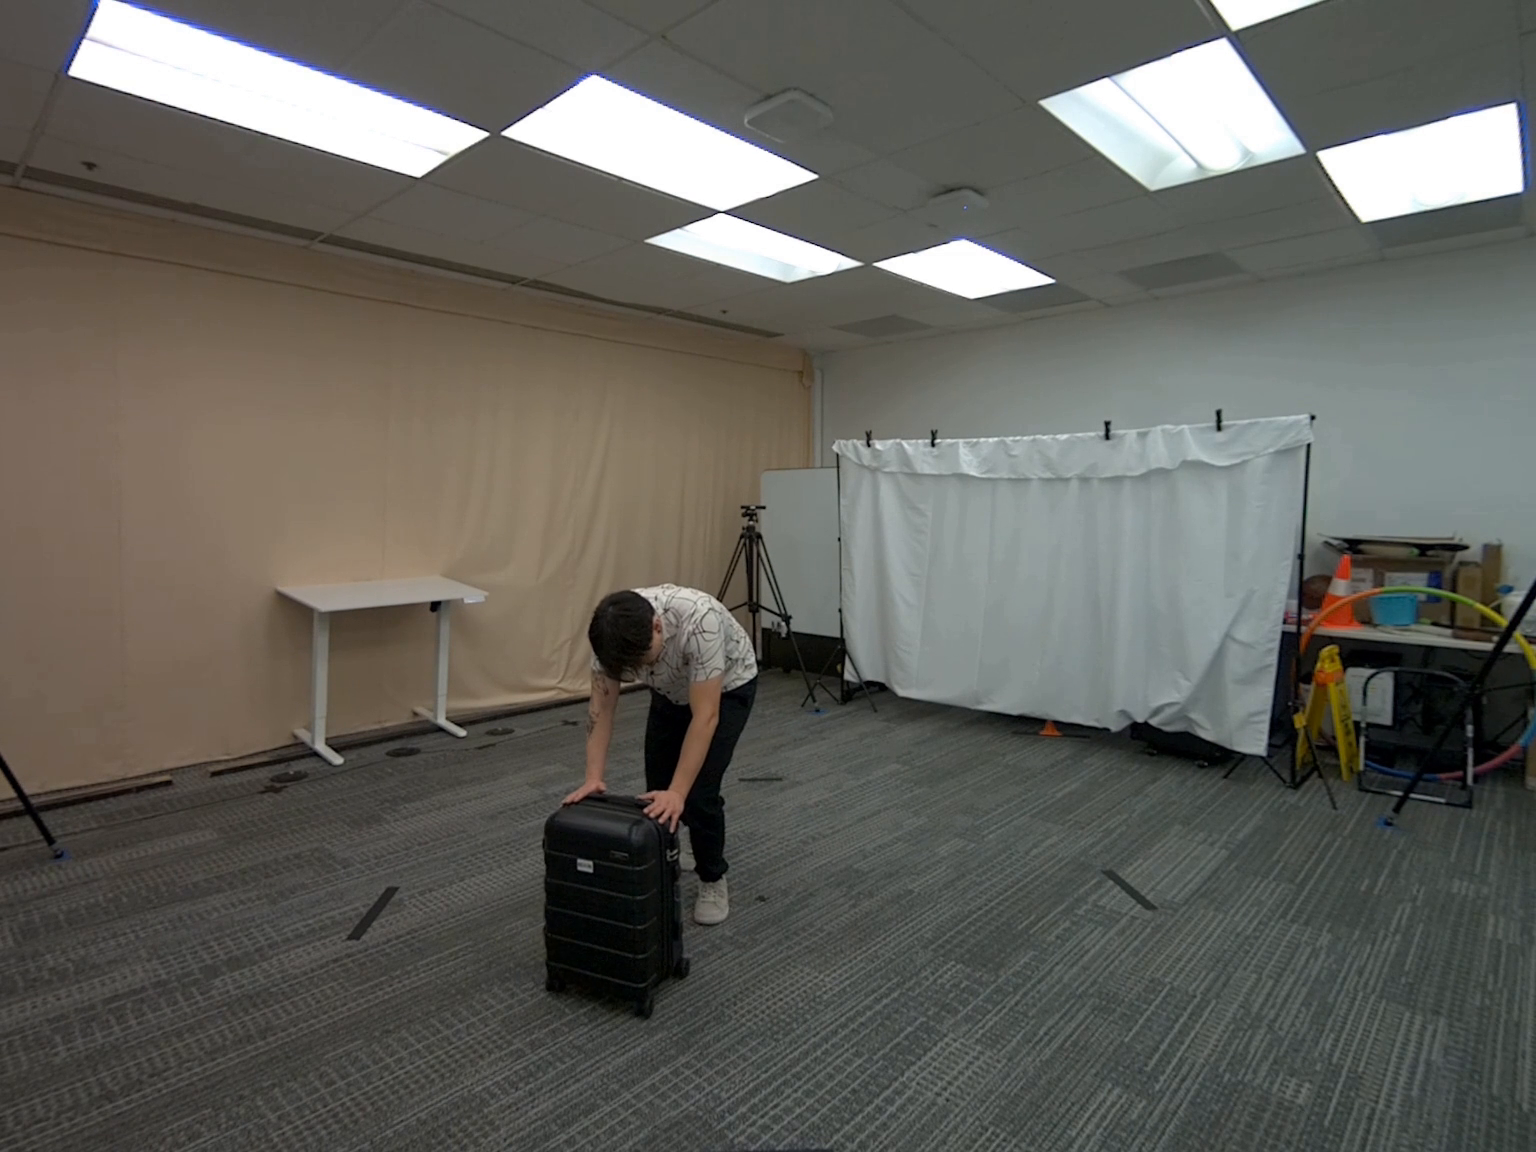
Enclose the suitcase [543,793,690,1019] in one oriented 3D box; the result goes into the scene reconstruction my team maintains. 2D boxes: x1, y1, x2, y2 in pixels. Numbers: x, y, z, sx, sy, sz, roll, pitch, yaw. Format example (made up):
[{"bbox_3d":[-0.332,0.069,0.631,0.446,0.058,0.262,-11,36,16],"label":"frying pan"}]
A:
[{"bbox_3d":[-0.438,0.918,2.425,0.385,0.548,0.243,1,5,25],"label":"suitcase"}]
